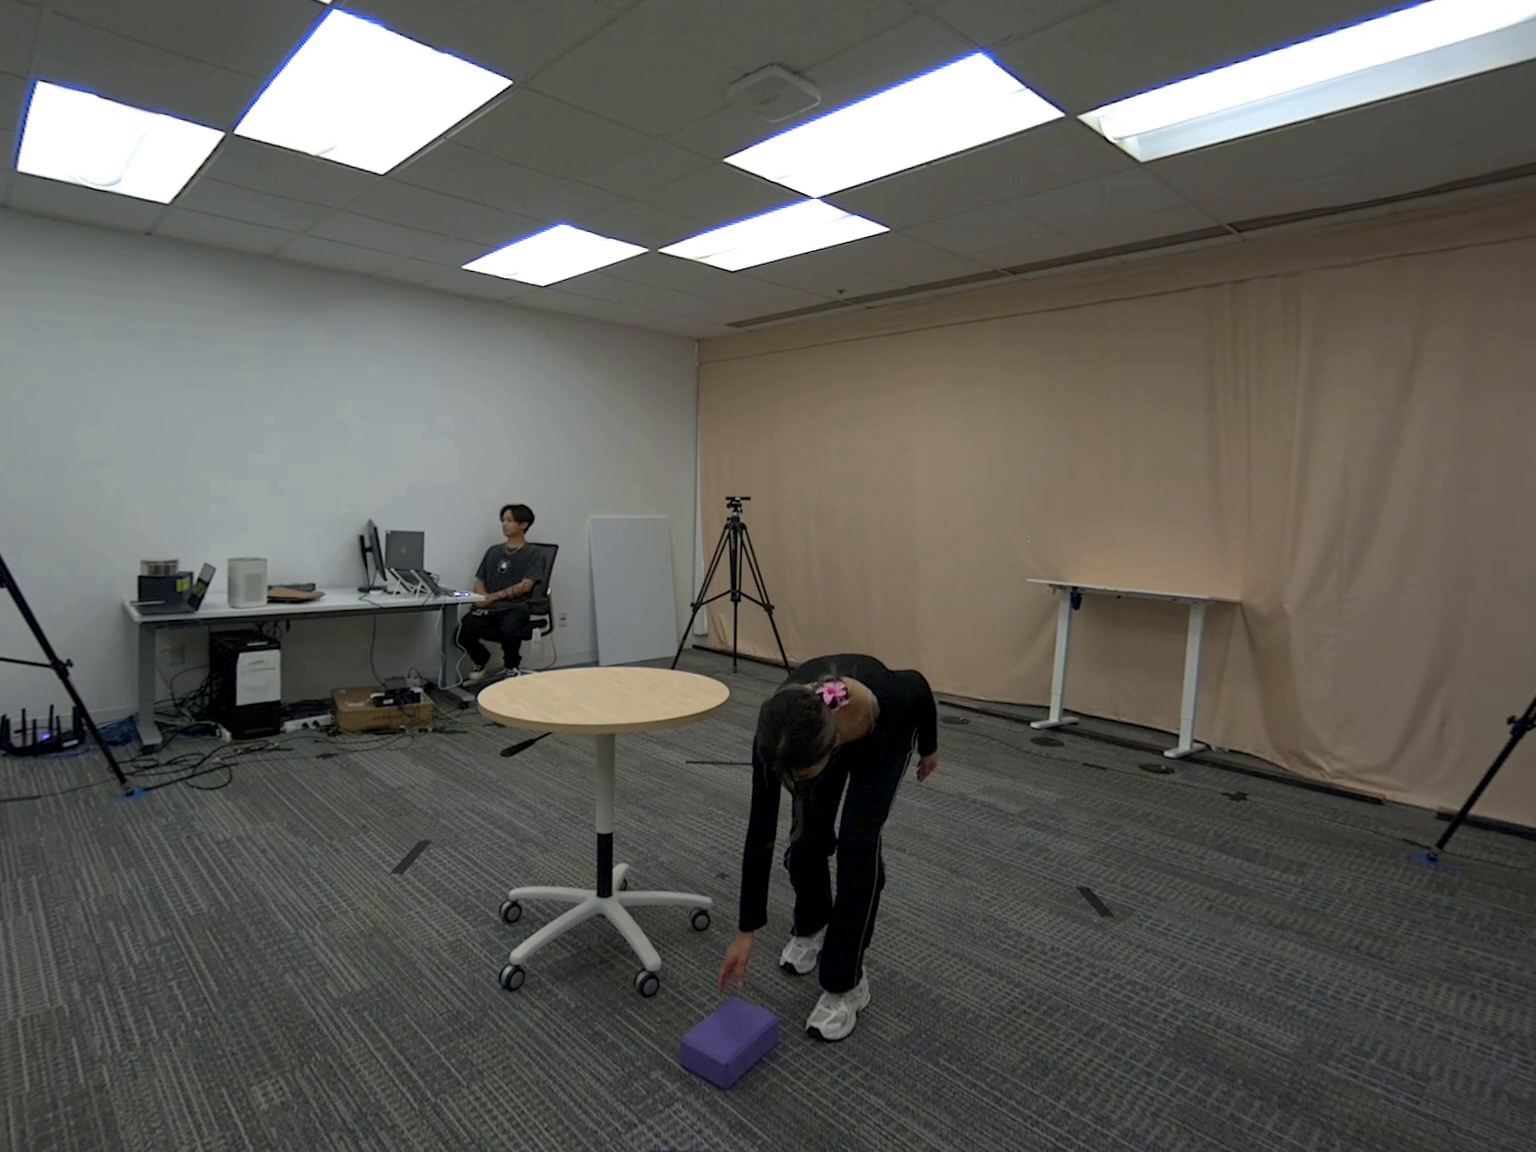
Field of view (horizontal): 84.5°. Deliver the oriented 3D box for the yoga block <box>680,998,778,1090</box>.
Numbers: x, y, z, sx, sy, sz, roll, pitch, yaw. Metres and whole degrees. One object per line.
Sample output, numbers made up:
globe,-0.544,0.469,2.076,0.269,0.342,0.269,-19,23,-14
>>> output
yoga block,-0.100,1.162,2.099,0.152,0.076,0.225,6,8,35
